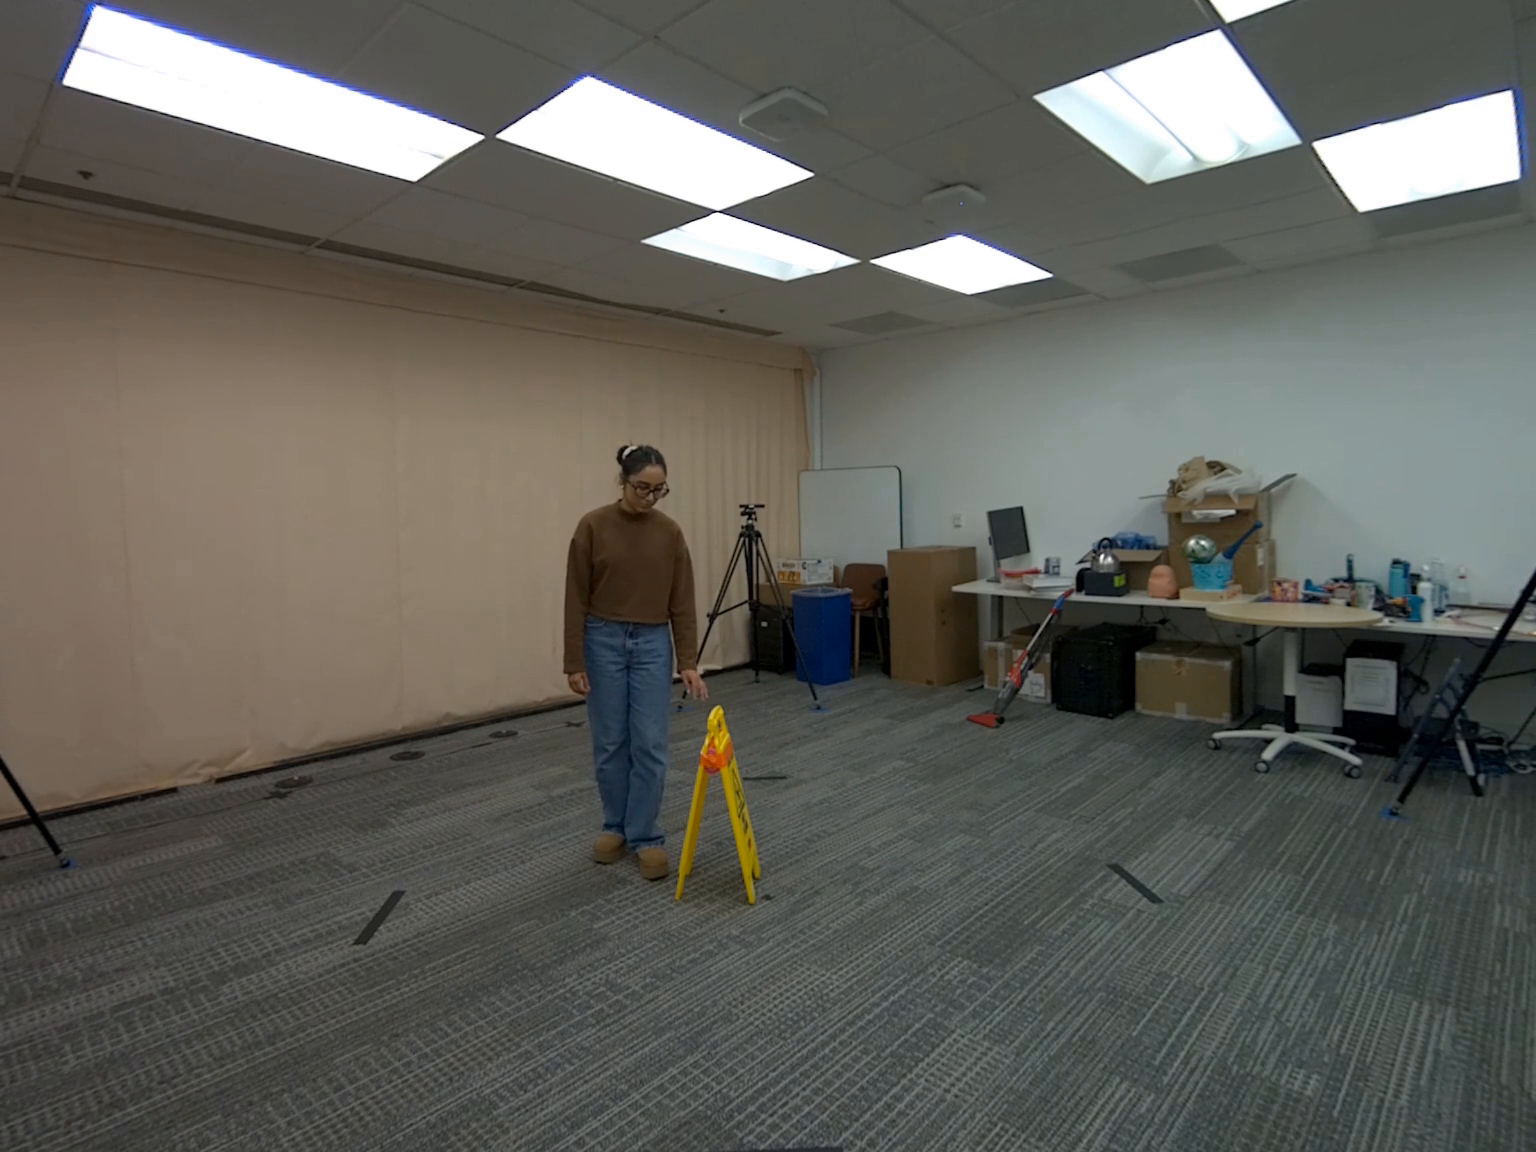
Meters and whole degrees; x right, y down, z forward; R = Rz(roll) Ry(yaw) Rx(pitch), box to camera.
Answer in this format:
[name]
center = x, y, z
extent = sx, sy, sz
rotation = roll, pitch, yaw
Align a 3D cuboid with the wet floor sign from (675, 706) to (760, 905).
[wet floor sign]
center = -0.185, 0.817, 3.058
extent = 0.292, 0.645, 0.280
rotation = -1, 3, 6
